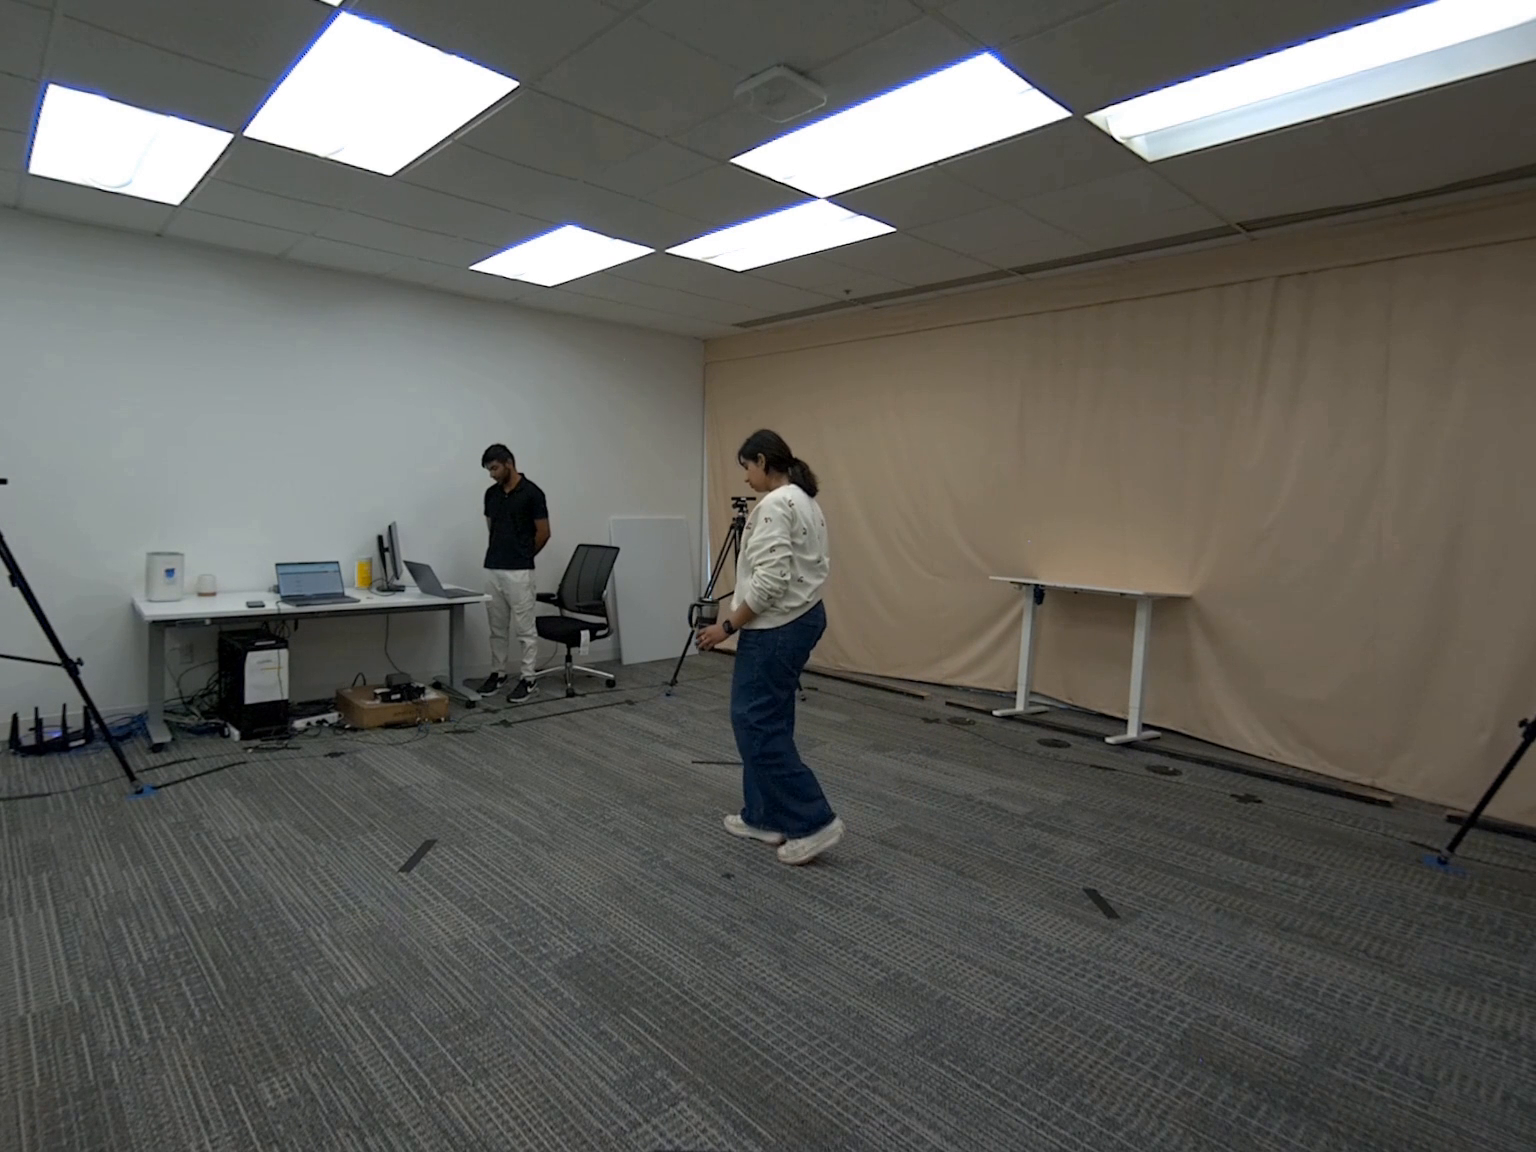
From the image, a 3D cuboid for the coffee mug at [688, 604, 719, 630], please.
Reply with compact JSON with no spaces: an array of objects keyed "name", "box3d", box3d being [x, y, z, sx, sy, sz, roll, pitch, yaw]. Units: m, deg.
[{"name":"coffee mug","box3d":[-0.259,0.191,3.294,0.120,0.202,0.089,6,5,-19]}]
